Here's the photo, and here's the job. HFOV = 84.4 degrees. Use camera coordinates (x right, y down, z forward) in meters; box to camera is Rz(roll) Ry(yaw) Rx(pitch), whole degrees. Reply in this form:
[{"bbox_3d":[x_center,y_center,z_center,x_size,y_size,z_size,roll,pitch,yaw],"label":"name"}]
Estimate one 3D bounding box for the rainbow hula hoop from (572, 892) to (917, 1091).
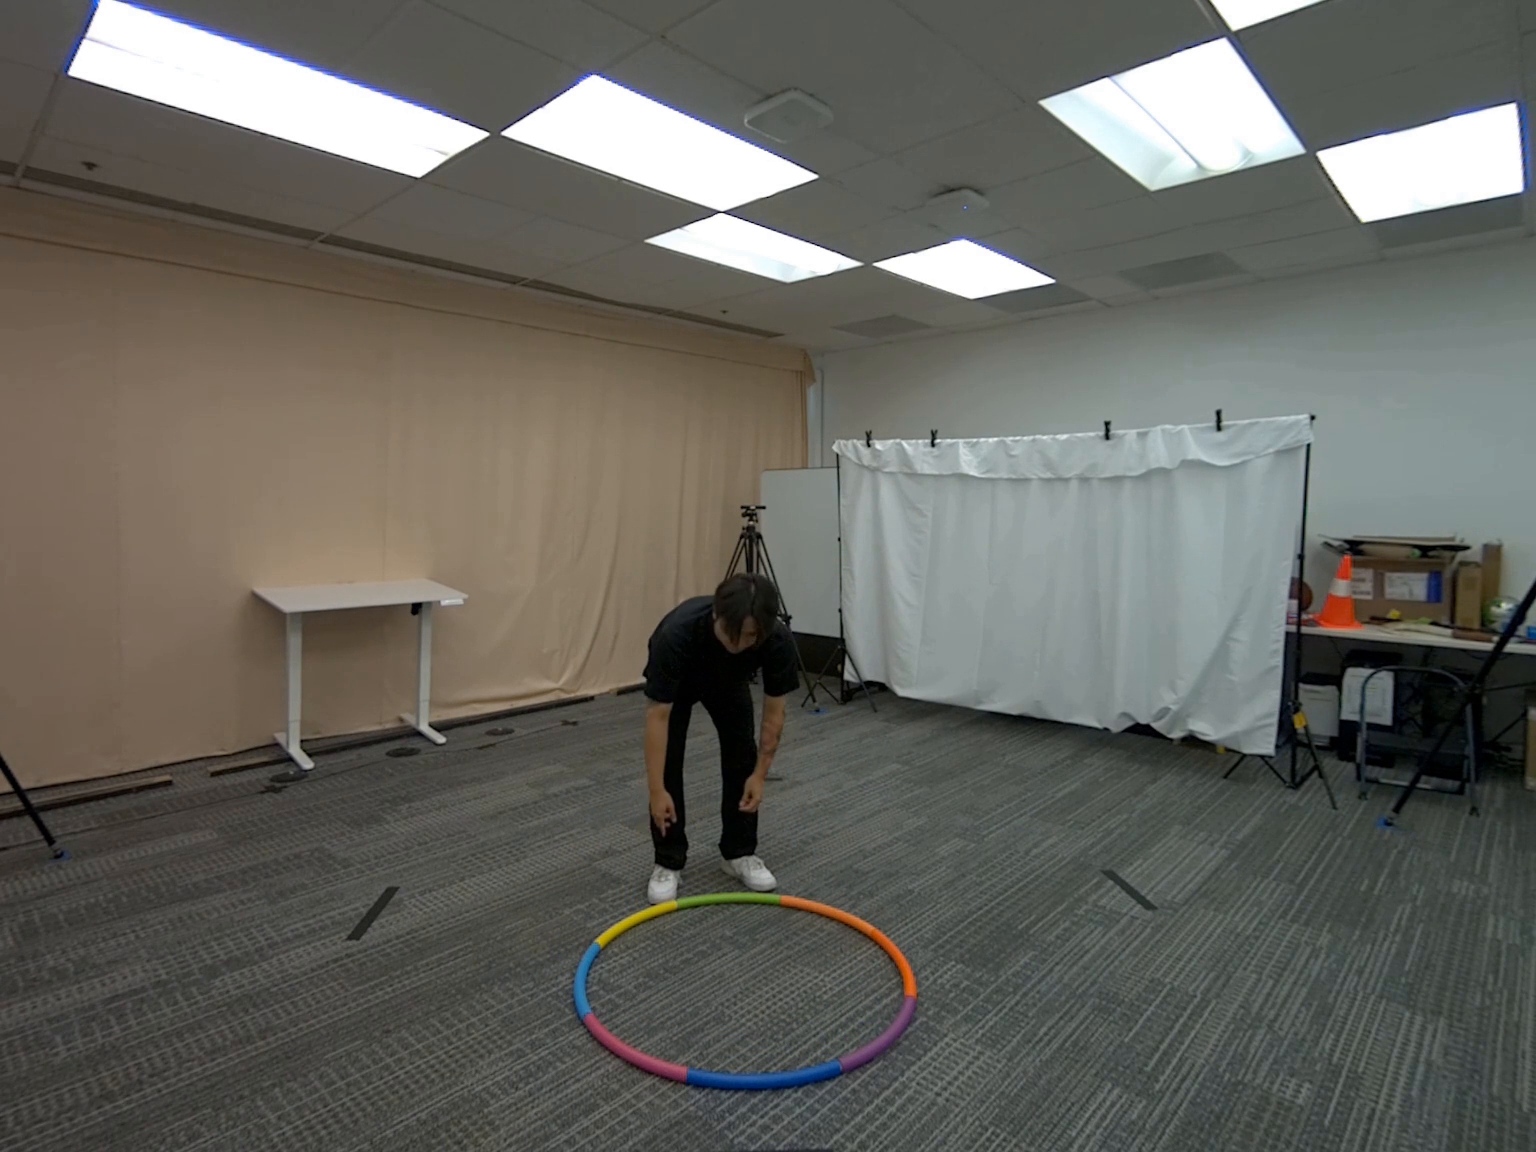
[{"bbox_3d":[-0.067,1.157,2.488,0.978,0.035,0.982,0,5,-2],"label":"rainbow hula hoop"}]
